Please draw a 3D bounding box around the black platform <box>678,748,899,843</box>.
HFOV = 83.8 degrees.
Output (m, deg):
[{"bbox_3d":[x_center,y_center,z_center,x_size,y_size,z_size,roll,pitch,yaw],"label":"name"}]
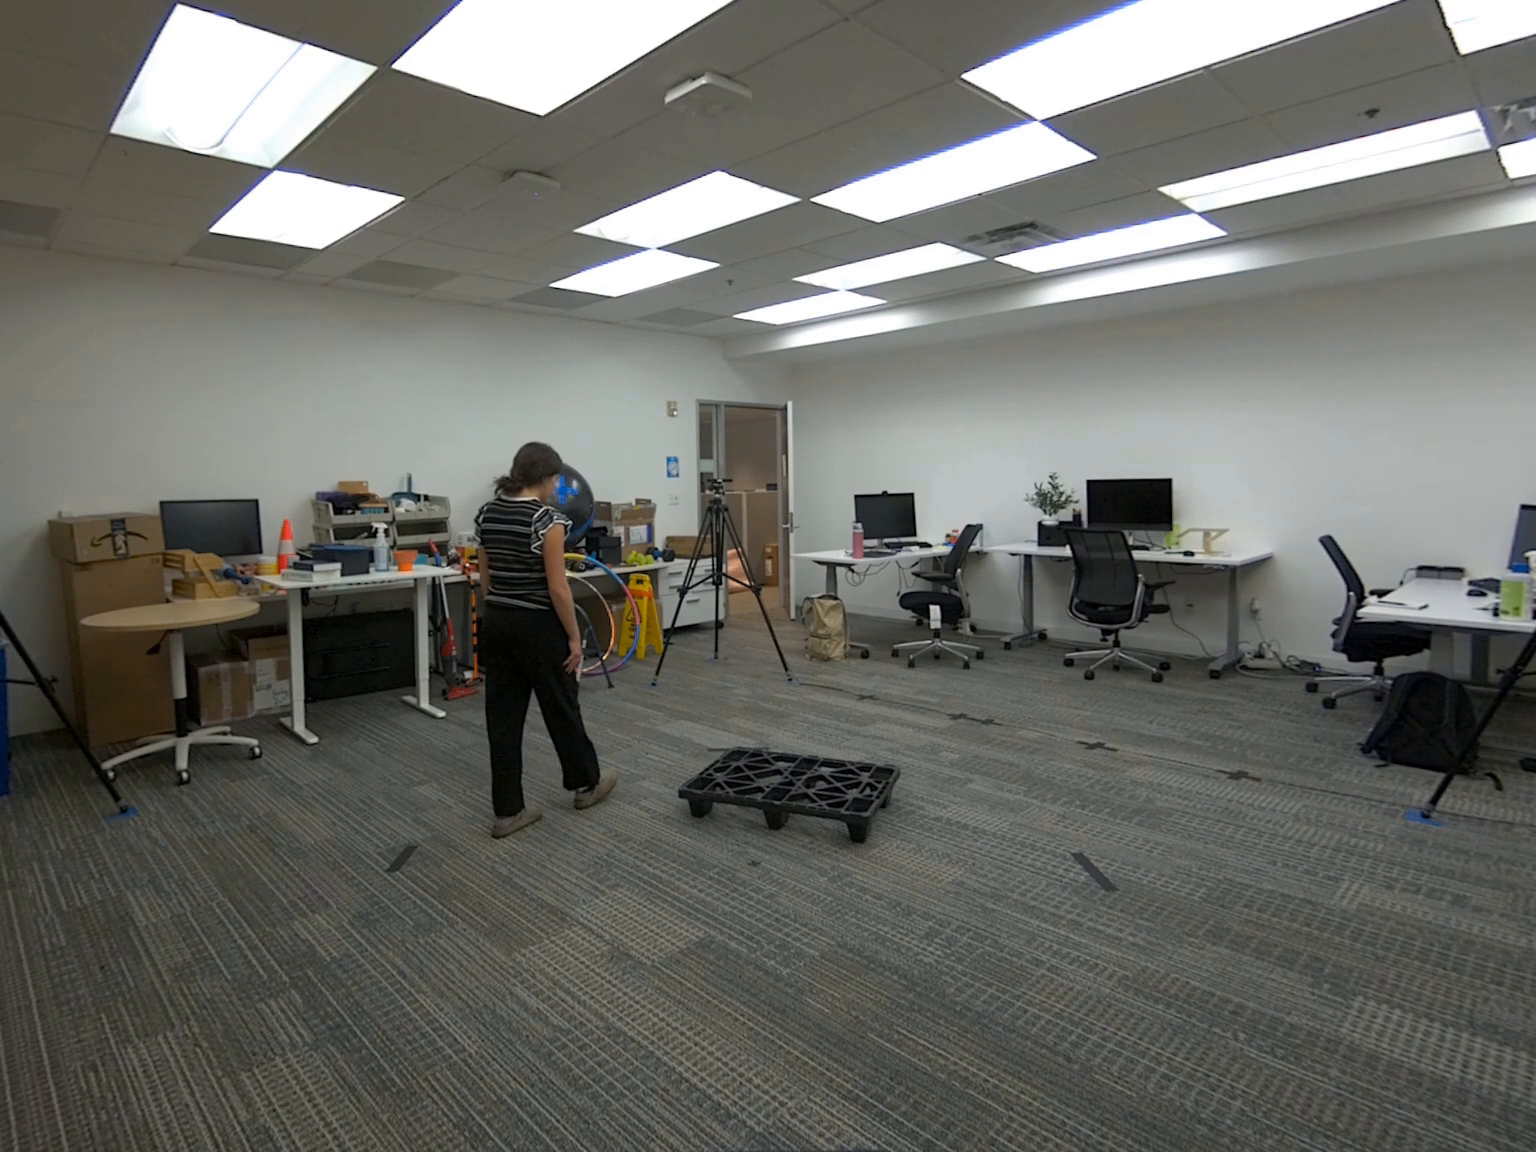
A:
[{"bbox_3d":[0.107,0.917,3.611,0.823,0.142,0.595,1,7,22],"label":"black platform"}]
